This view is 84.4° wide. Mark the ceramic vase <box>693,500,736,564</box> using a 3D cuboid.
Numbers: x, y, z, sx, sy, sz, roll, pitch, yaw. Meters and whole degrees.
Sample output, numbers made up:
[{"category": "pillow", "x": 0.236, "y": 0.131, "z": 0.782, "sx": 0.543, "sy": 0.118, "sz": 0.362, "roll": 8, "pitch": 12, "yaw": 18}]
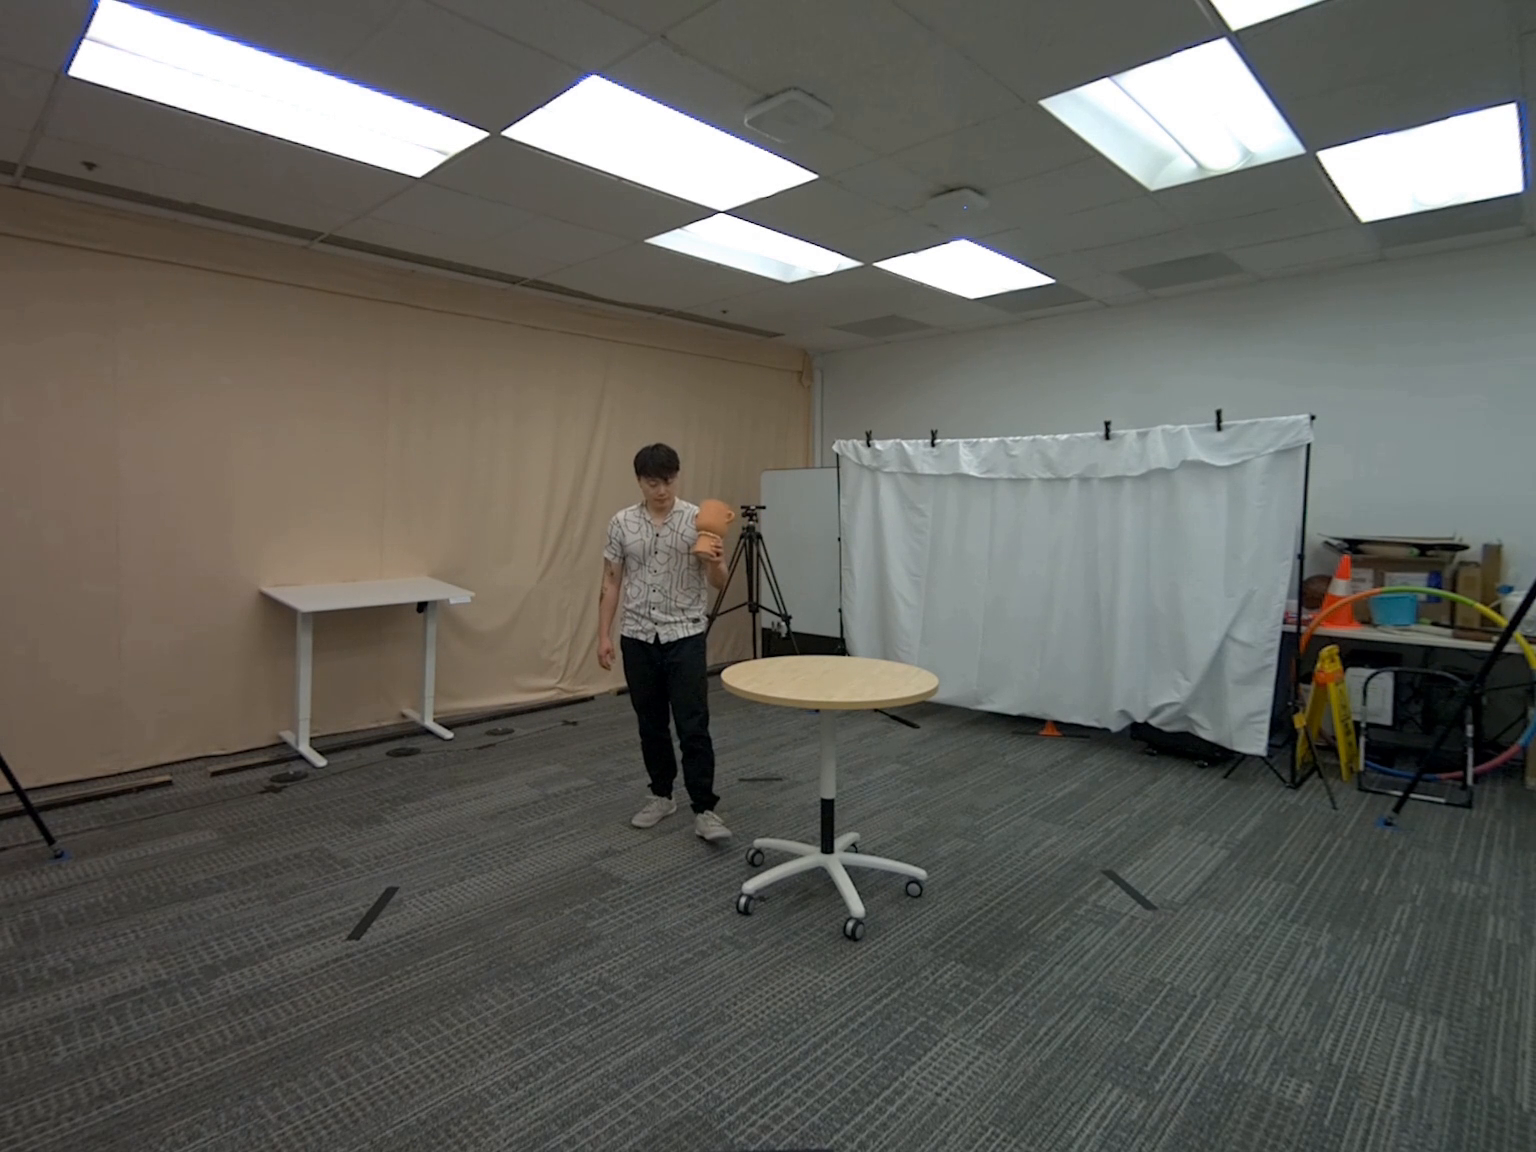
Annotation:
[{"category": "ceramic vase", "x": -0.221, "y": -0.178, "z": 3.384, "sx": 0.132, "sy": 0.221, "sz": 0.161, "roll": 17, "pitch": -19, "yaw": -17}]
